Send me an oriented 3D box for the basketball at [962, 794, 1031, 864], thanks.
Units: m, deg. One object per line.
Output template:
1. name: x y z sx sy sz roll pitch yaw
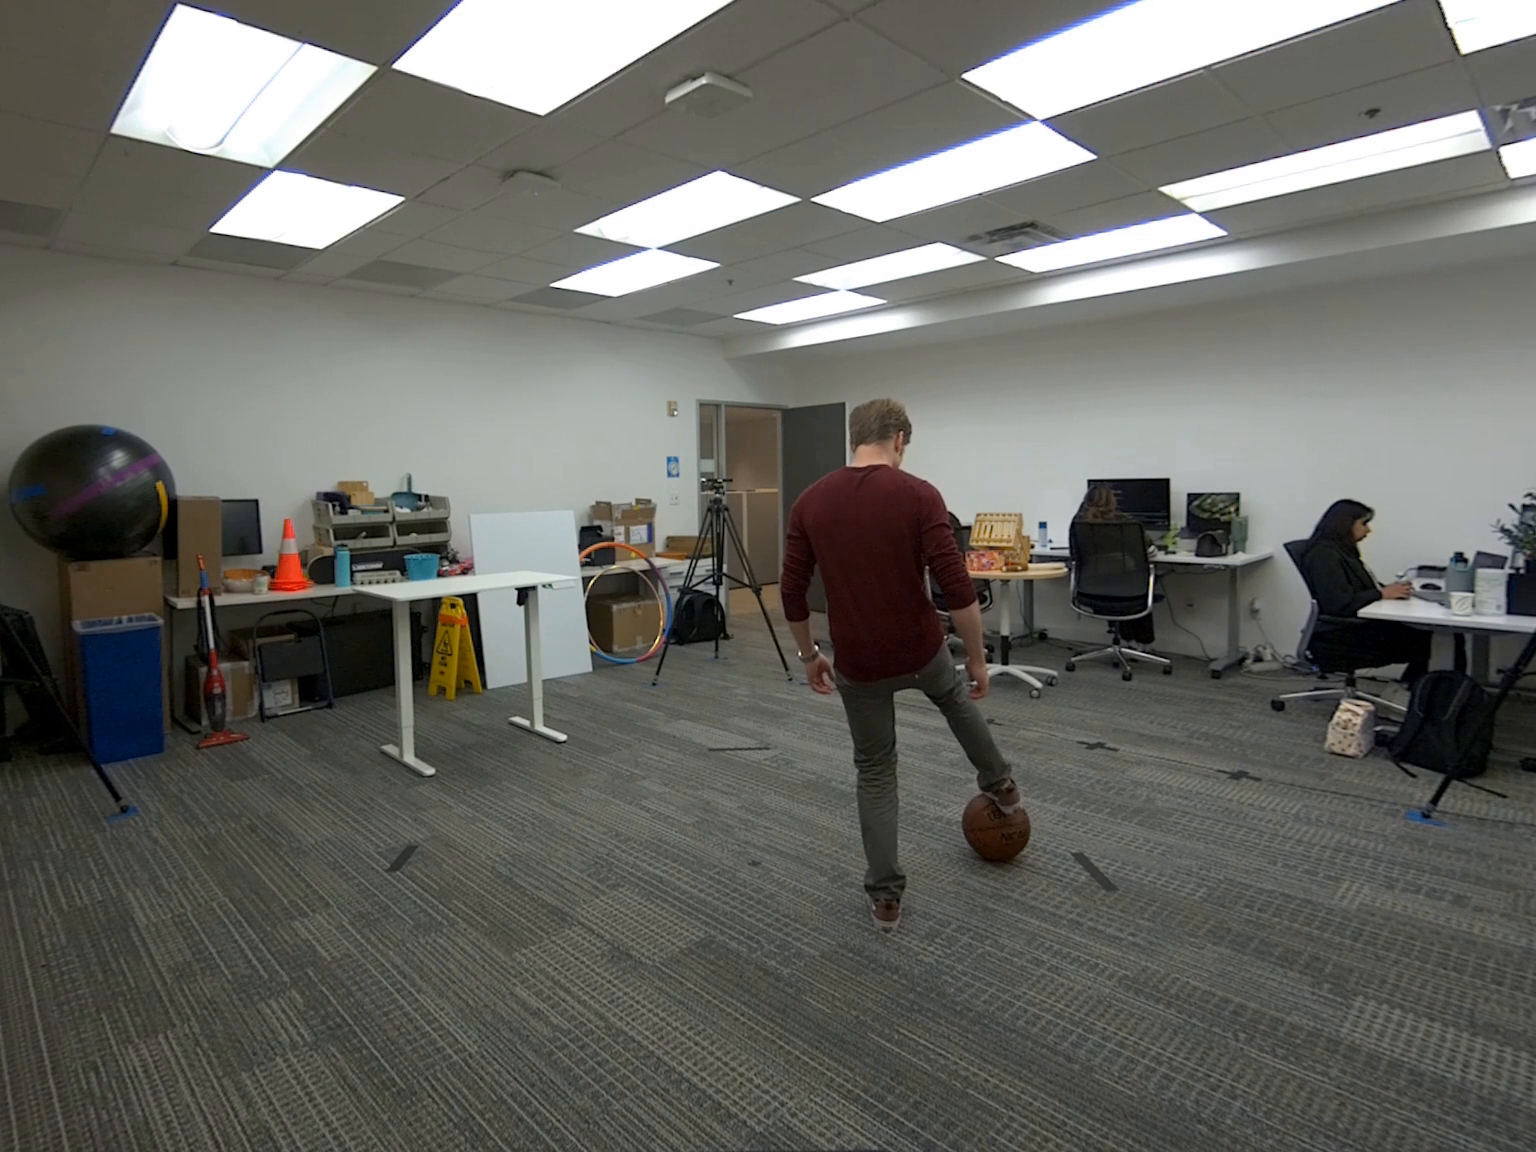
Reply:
1. basketball: 0.832 0.909 3.116 0.236 0.235 0.237 -1 5 -2
